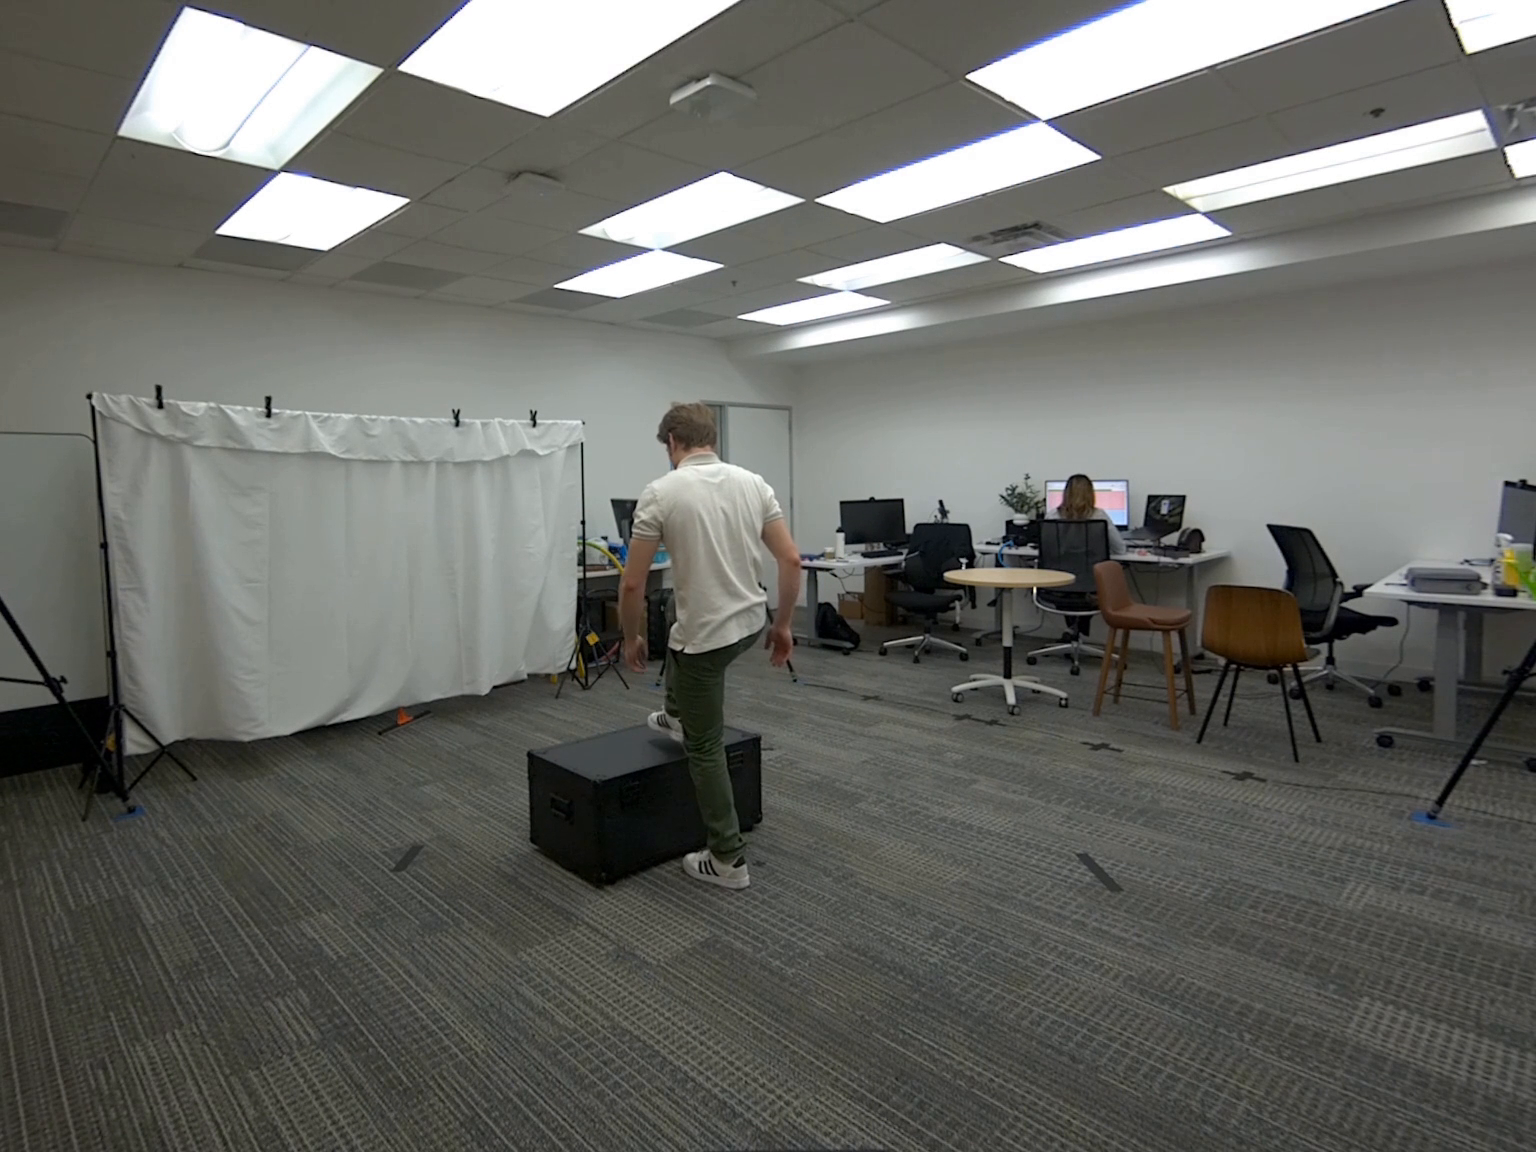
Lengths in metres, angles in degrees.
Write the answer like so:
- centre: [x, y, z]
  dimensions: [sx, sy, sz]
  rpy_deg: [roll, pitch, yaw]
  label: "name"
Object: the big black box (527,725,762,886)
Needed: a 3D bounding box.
- centre: [-0.443, 0.834, 3.363]
  dimensions: [0.839, 0.394, 0.537]
  rpy_deg: [-8, 8, -43]
  label: "big black box"
